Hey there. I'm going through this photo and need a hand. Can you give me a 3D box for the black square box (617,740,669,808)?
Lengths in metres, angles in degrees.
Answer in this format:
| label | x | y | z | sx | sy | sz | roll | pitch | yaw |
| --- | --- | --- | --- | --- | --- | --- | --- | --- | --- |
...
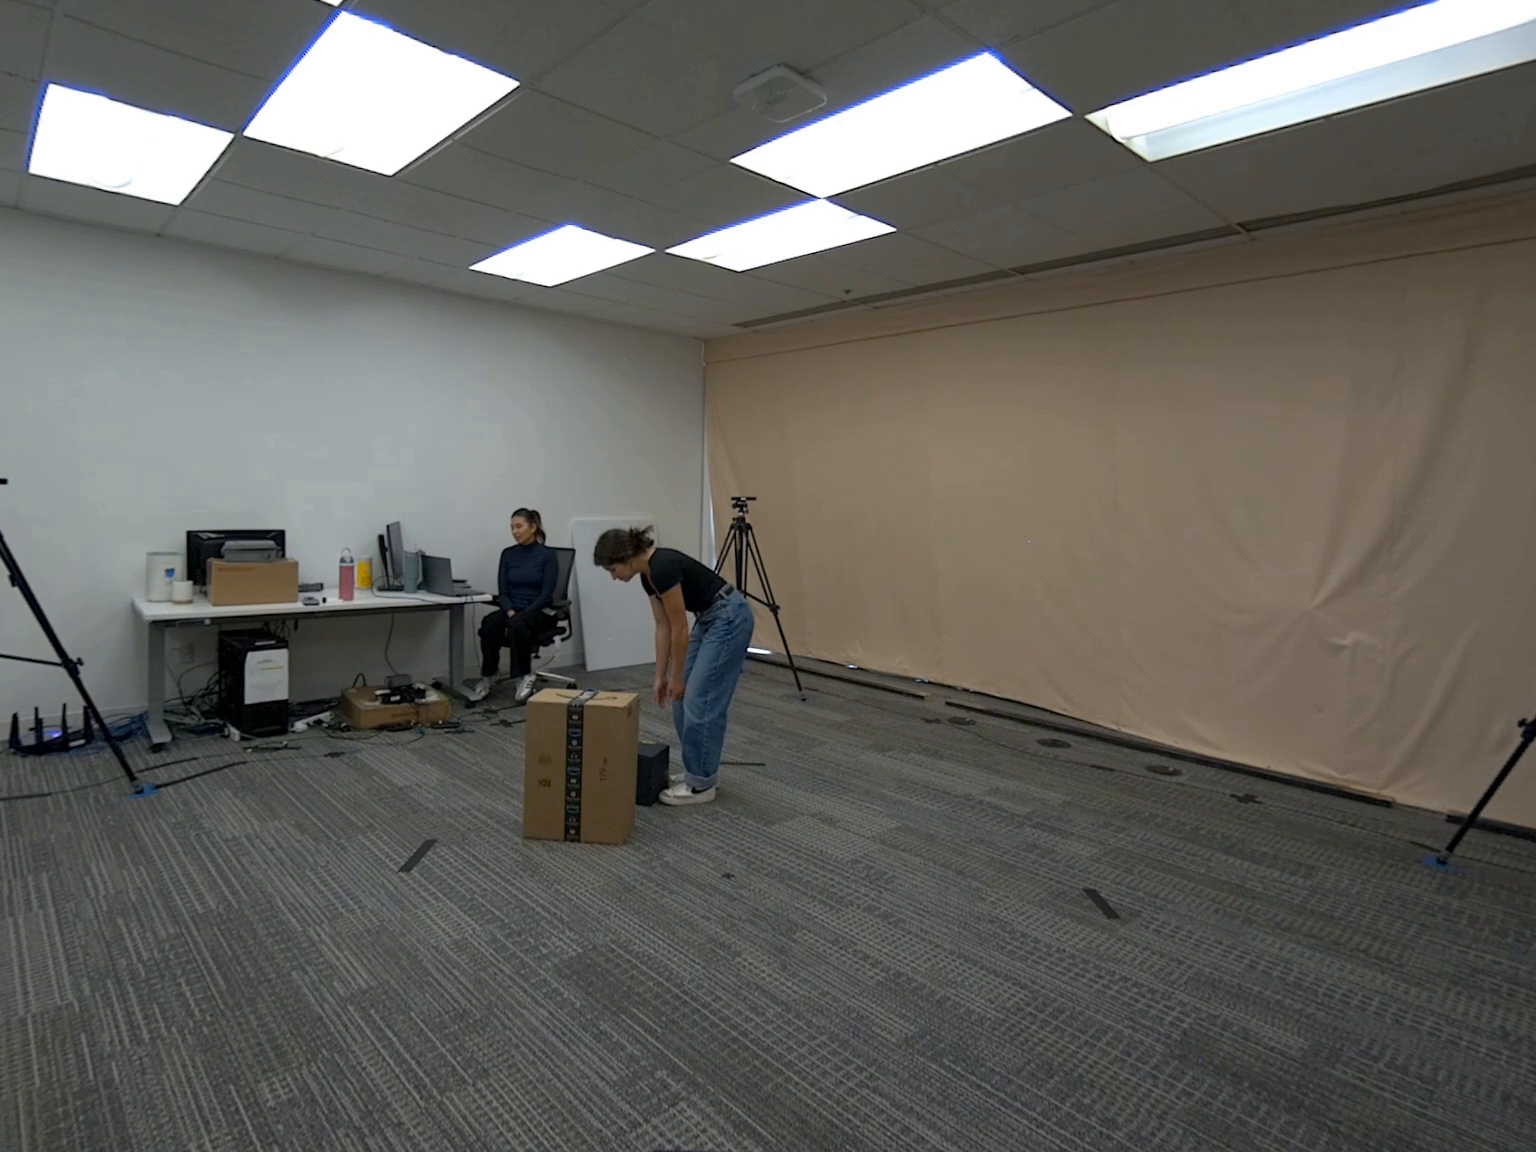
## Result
| label | x | y | z | sx | sy | sz | roll | pitch | yaw |
| --- | --- | --- | --- | --- | --- | --- | --- | --- | --- |
| black square box | -0.576 | 0.907 | 3.902 | 0.158 | 0.227 | 0.214 | 3 | 3 | 15 |
